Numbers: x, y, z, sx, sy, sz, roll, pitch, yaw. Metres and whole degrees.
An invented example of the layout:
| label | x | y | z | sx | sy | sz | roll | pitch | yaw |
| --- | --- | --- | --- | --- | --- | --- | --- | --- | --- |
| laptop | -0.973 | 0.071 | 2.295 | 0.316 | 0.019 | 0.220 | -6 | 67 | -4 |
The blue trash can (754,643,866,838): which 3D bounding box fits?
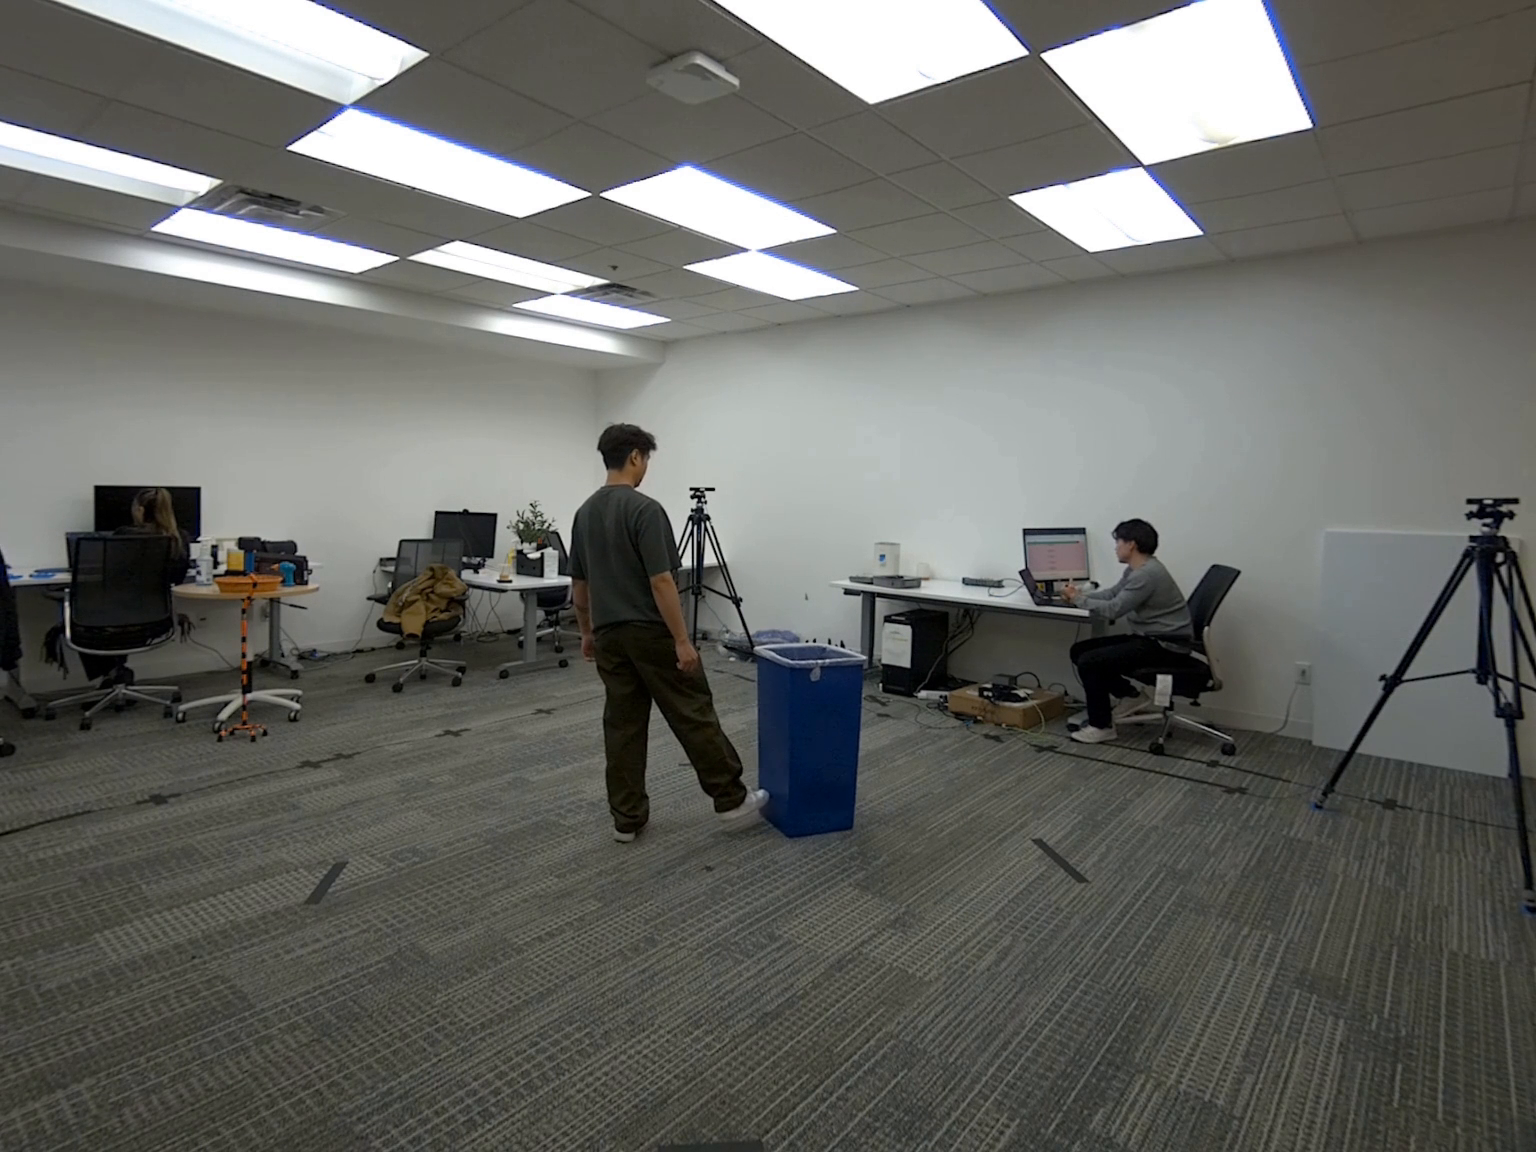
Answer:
| label | x | y | z | sx | sy | sz | roll | pitch | yaw |
| --- | --- | --- | --- | --- | --- | --- | --- | --- | --- |
| blue trash can | 0.150 | 0.674 | 3.564 | 0.365 | 0.712 | 0.388 | 1 | 3 | -26 |
